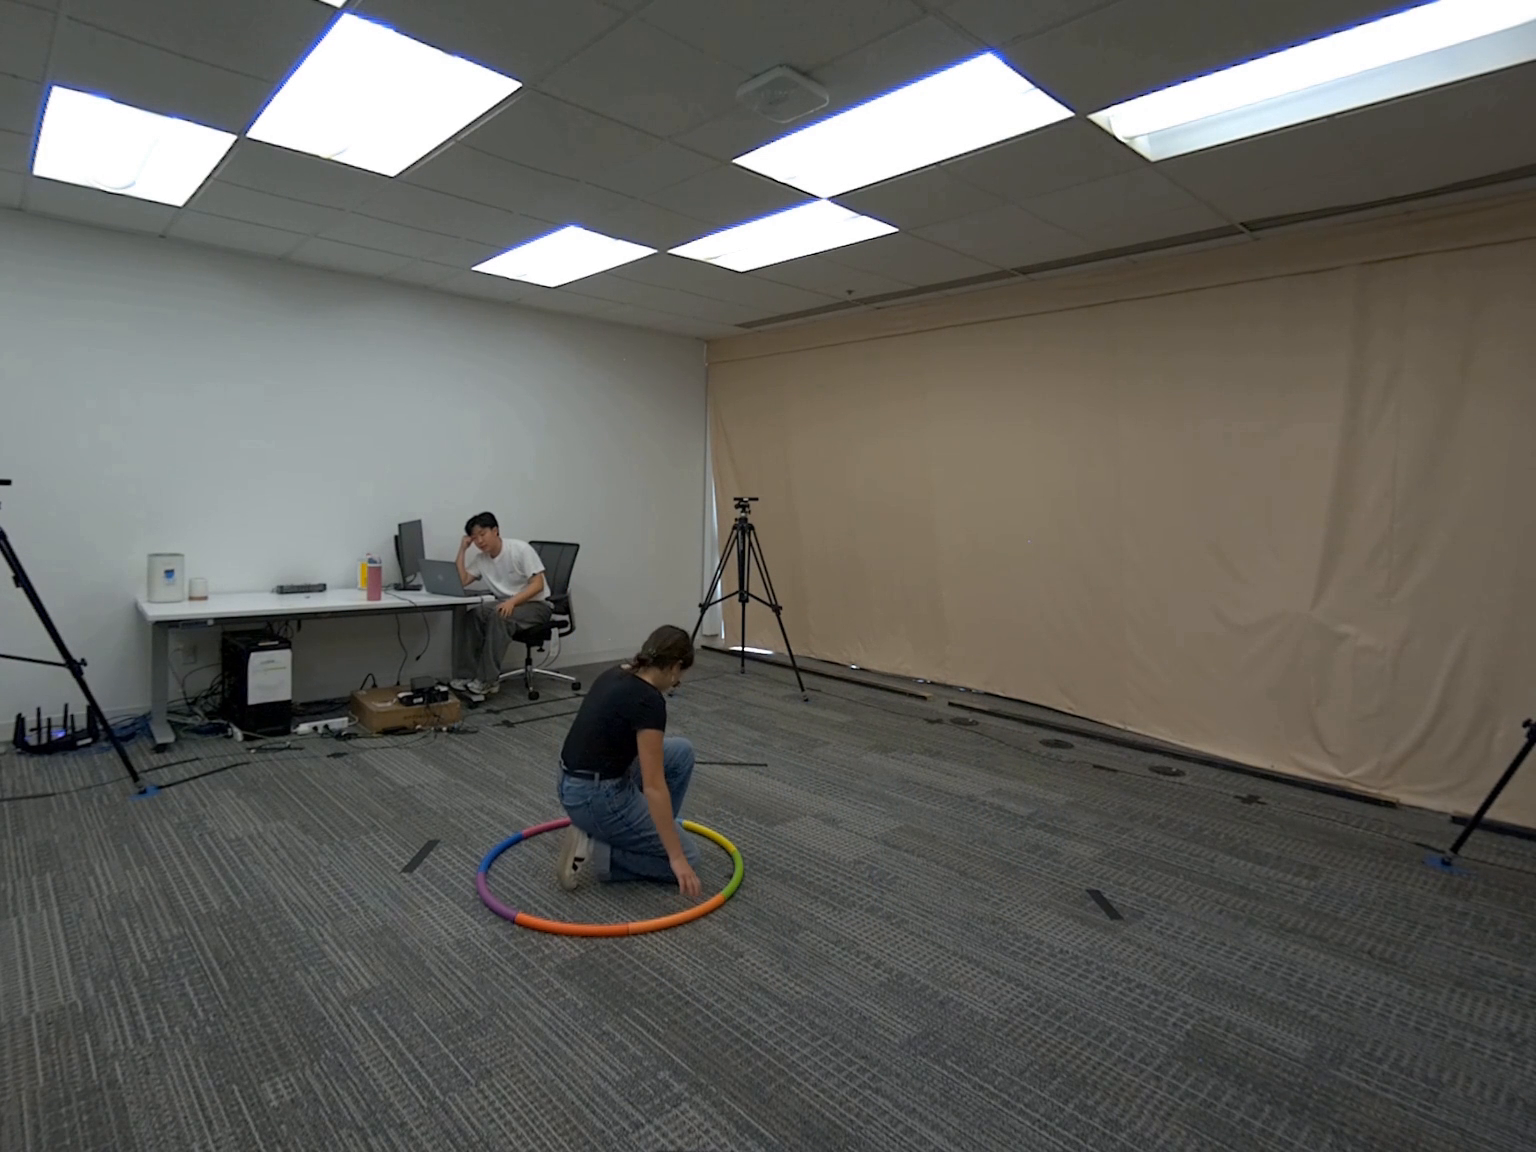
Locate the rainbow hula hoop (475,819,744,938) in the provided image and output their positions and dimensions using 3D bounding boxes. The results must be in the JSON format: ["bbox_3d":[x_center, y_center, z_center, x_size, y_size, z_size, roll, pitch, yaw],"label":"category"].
[{"bbox_3d":[-0.583,1.065,3.132,0.978,0.035,0.982,1,5,-1],"label":"rainbow hula hoop"}]
